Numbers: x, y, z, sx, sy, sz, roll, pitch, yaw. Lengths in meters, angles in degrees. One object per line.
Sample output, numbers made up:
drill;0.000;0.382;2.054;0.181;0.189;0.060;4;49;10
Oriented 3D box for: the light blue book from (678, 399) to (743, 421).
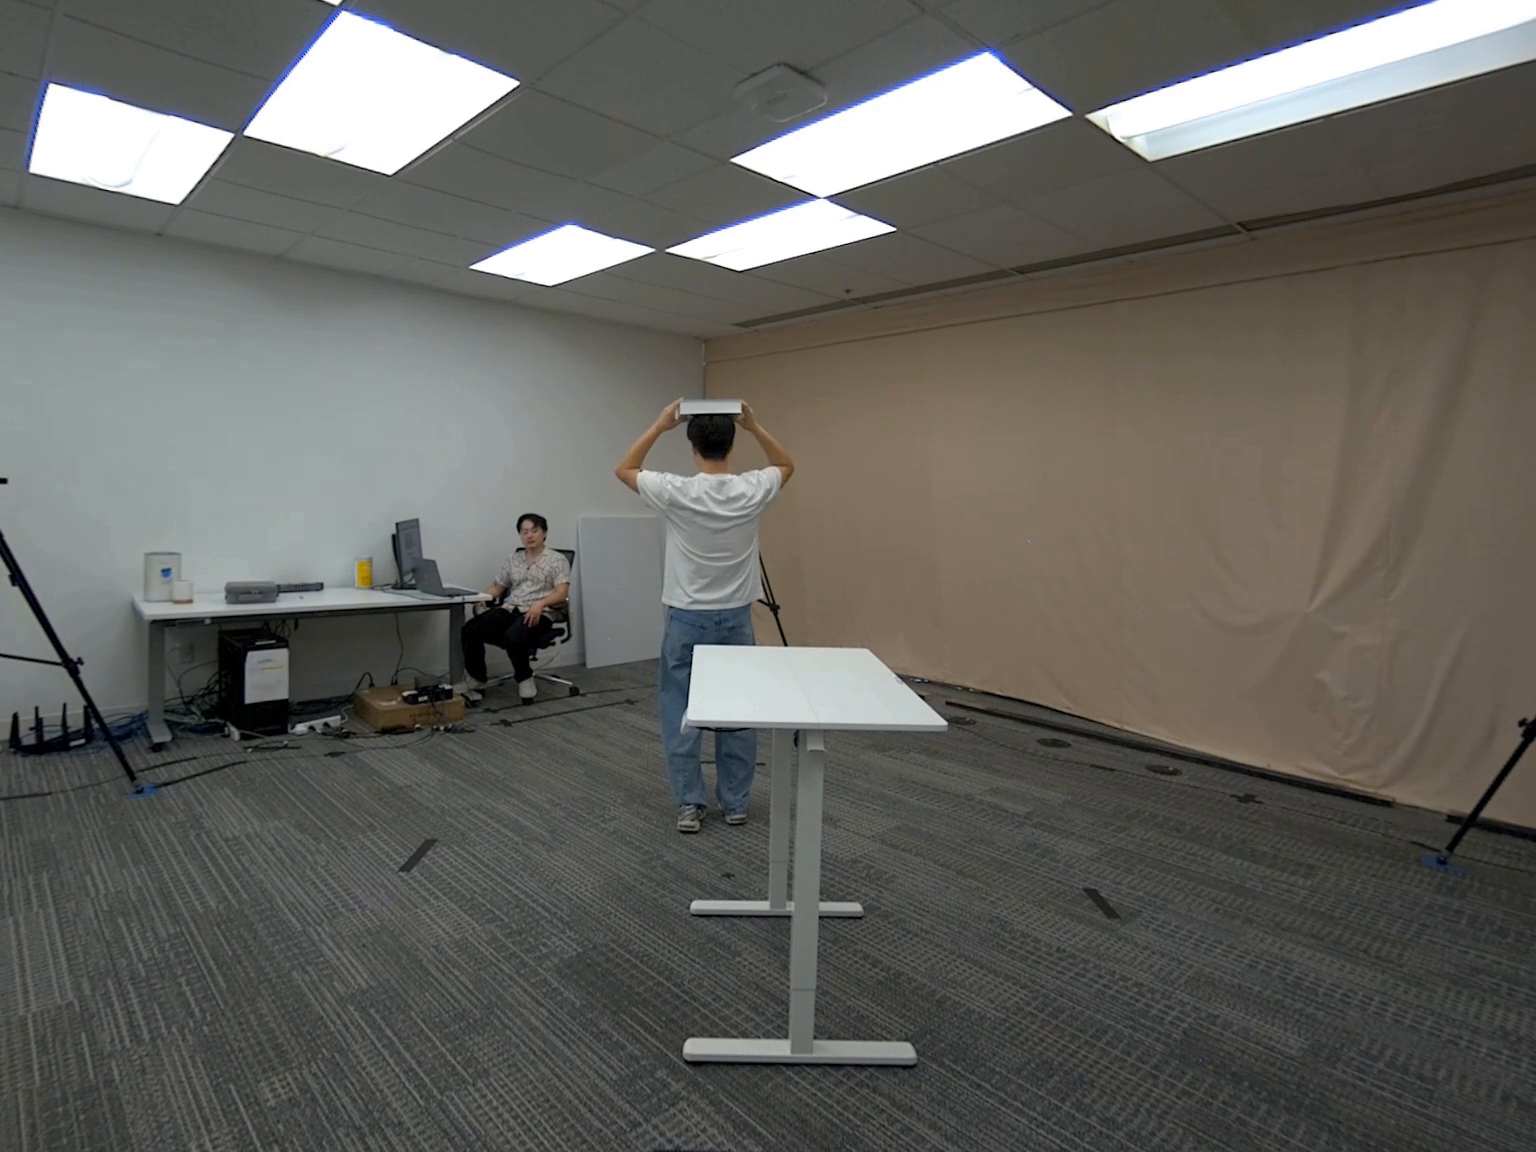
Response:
light blue book;-0.260;-0.701;3.584;0.260;0.059;0.192;-1;-3;-6
